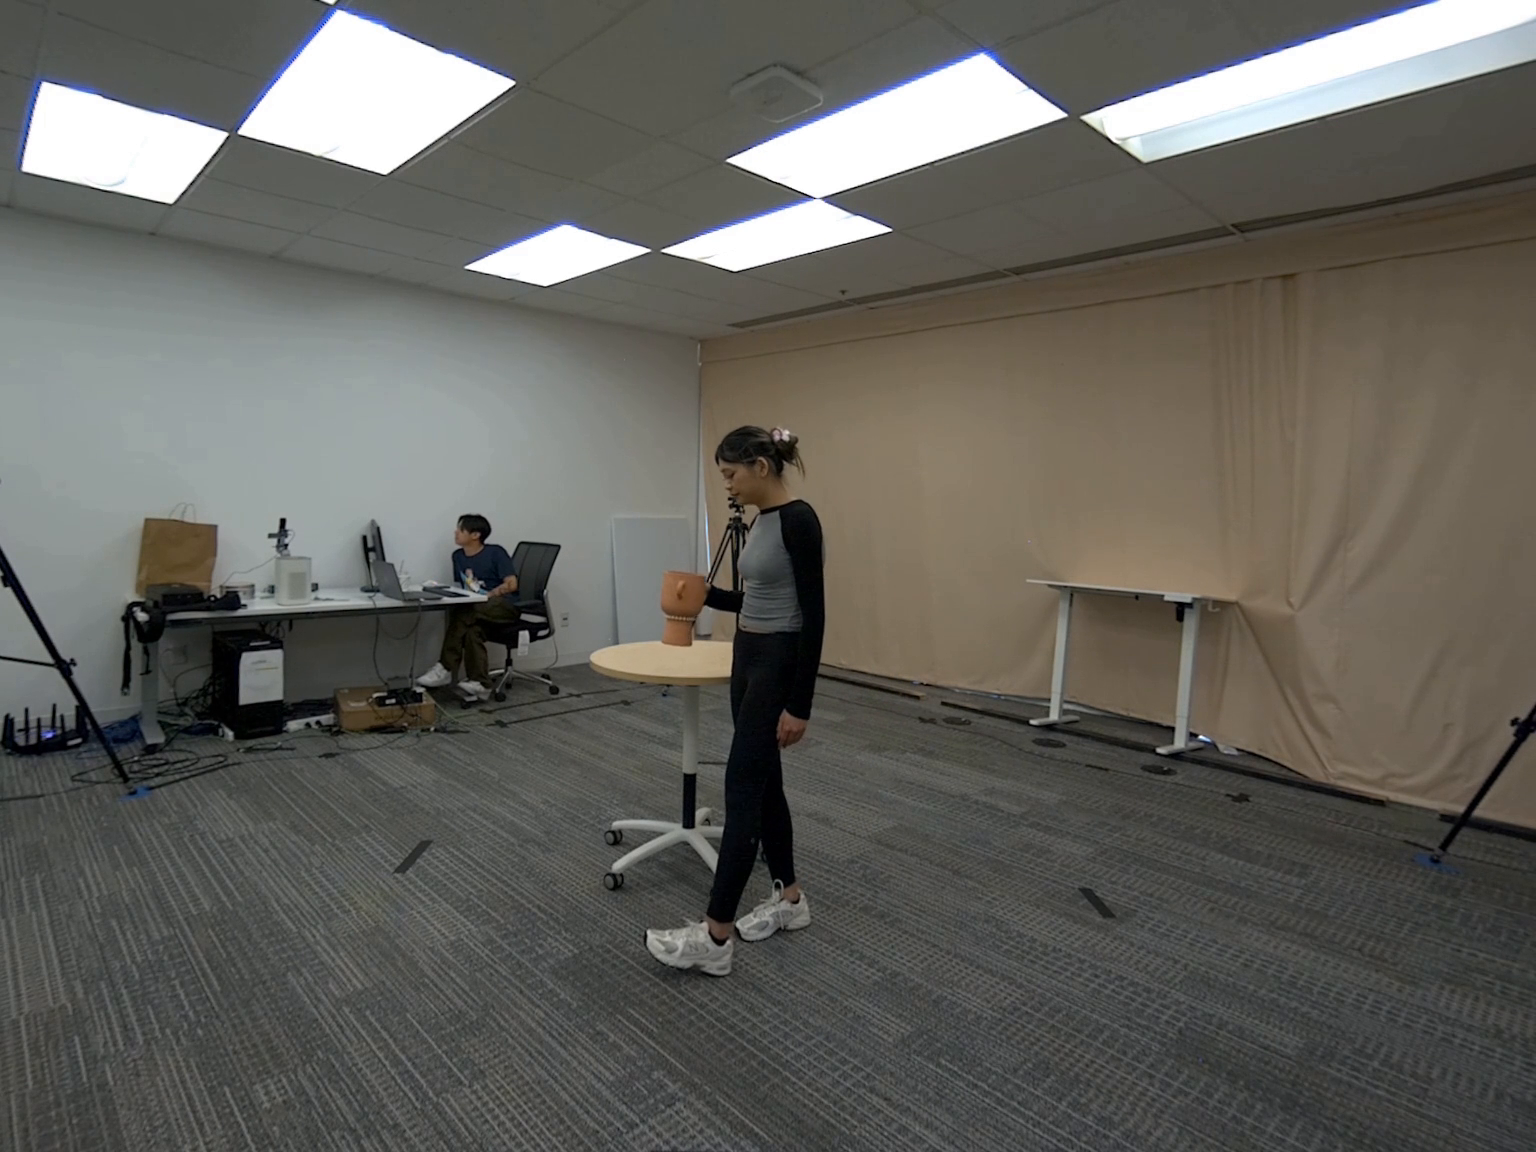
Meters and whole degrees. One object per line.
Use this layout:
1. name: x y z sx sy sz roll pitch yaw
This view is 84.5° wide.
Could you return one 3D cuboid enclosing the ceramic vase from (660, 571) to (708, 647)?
1. ceramic vase: -0.264 0.102 2.592 0.138 0.220 0.155 7 0 40
